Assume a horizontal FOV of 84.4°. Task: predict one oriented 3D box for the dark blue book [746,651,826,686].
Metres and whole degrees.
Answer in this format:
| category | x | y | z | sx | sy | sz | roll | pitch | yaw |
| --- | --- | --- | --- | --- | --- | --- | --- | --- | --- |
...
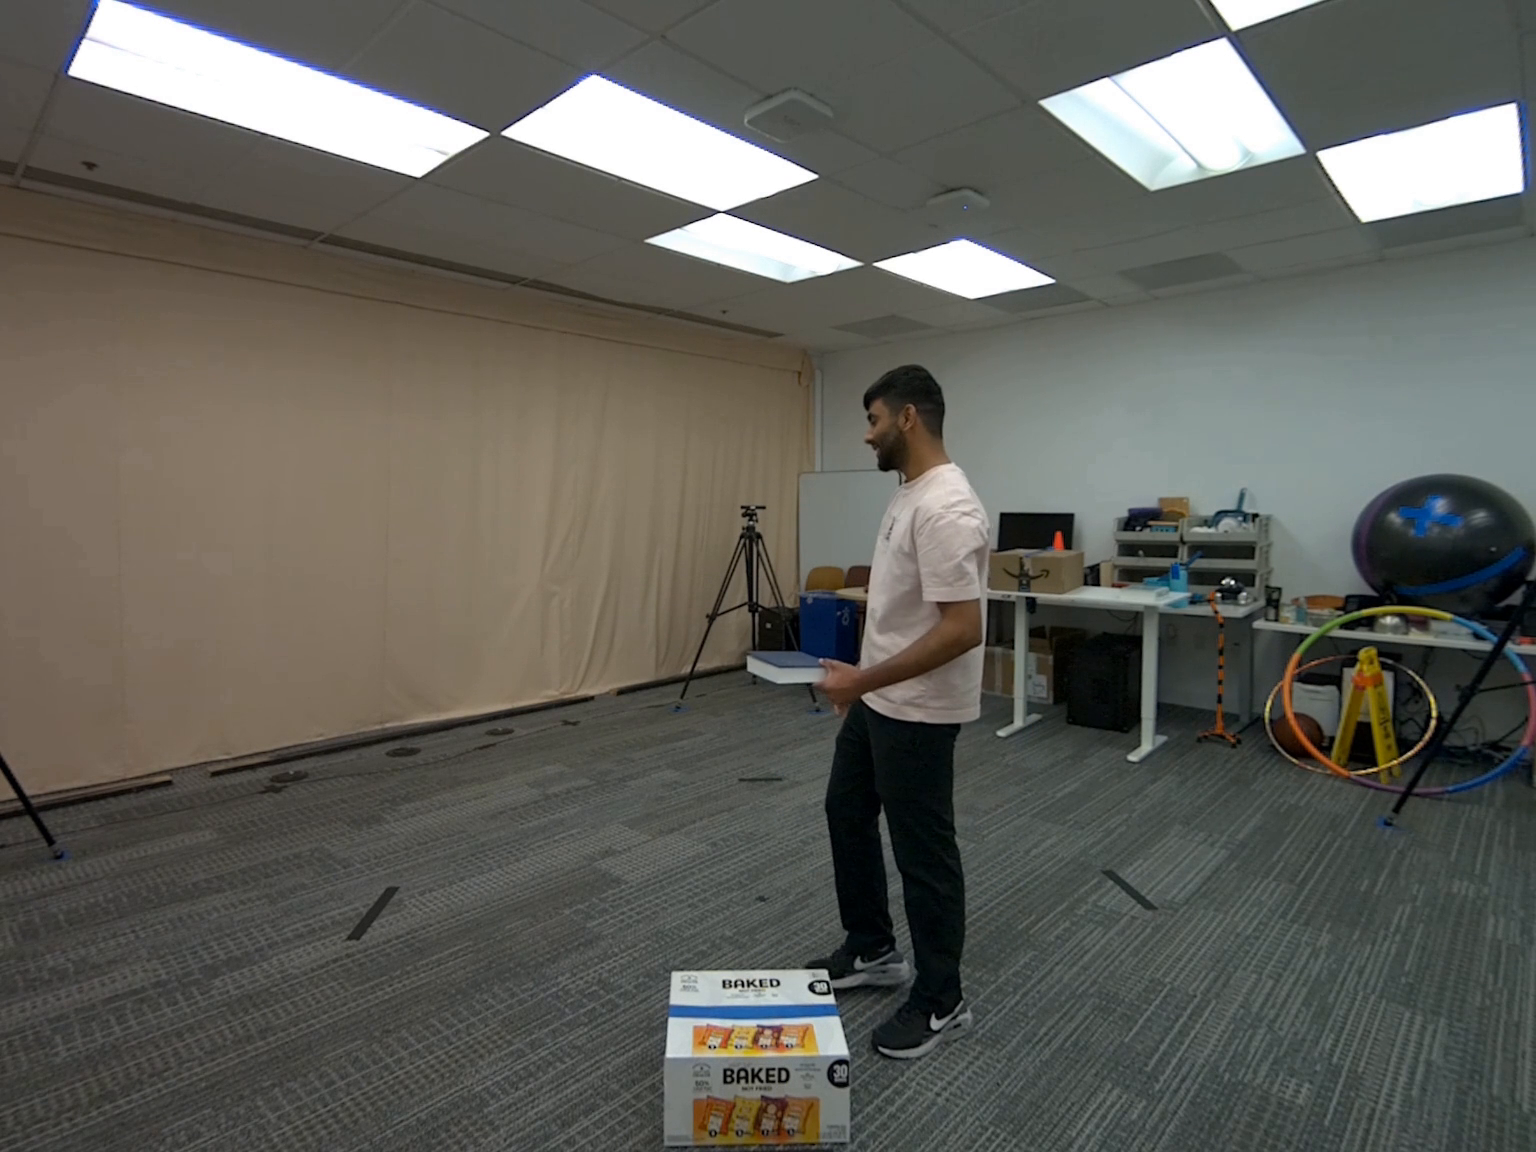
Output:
| category | x | y | z | sx | sy | sz | roll | pitch | yaw |
| --- | --- | --- | --- | --- | --- | --- | --- | --- | --- |
| dark blue book | 0.067 | 0.241 | 2.138 | 0.162 | 0.045 | 0.247 | 2 | 3 | -9 |
